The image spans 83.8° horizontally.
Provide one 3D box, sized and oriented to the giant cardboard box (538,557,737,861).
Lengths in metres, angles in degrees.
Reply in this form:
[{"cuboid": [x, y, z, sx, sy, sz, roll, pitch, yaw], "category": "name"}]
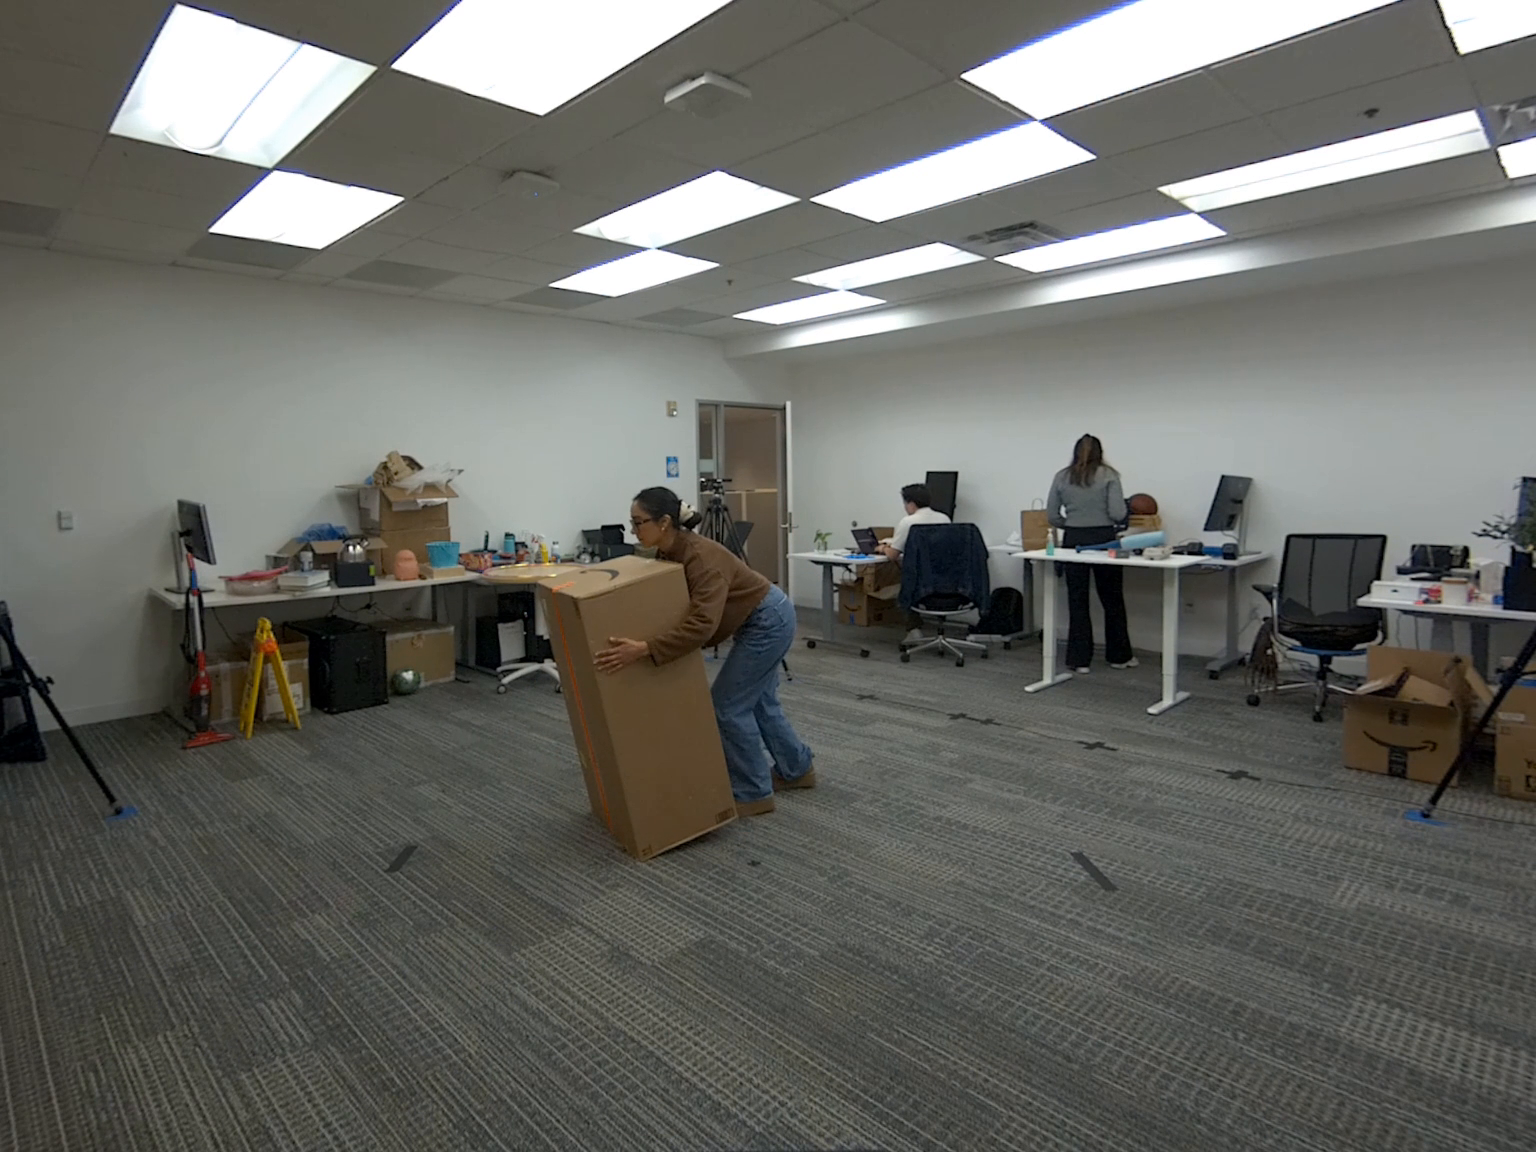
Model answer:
[{"cuboid": [-0.537, 0.486, 3.393, 0.419, 1.016, 0.593, -16, 11, -27], "category": "giant cardboard box"}]
